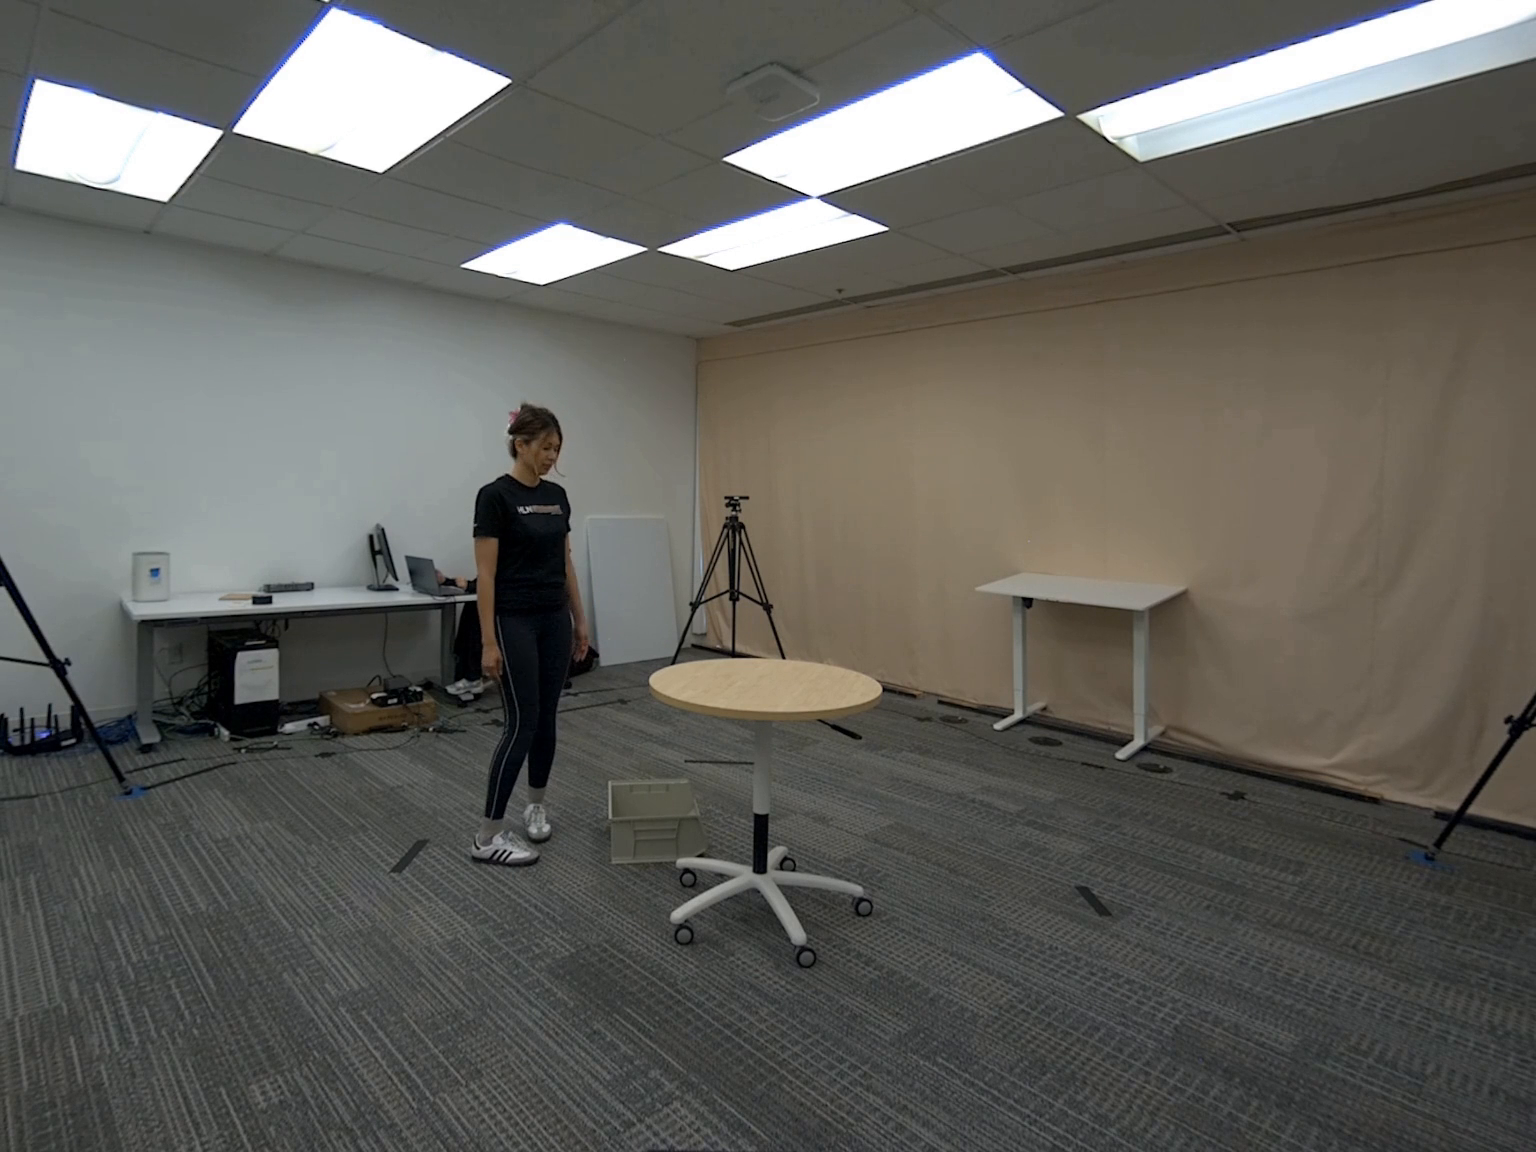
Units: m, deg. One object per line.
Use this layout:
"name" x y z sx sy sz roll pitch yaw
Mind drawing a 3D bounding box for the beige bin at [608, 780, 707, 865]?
"beige bin" -0.460 0.989 3.399 0.374 0.188 0.427 0 5 -11
